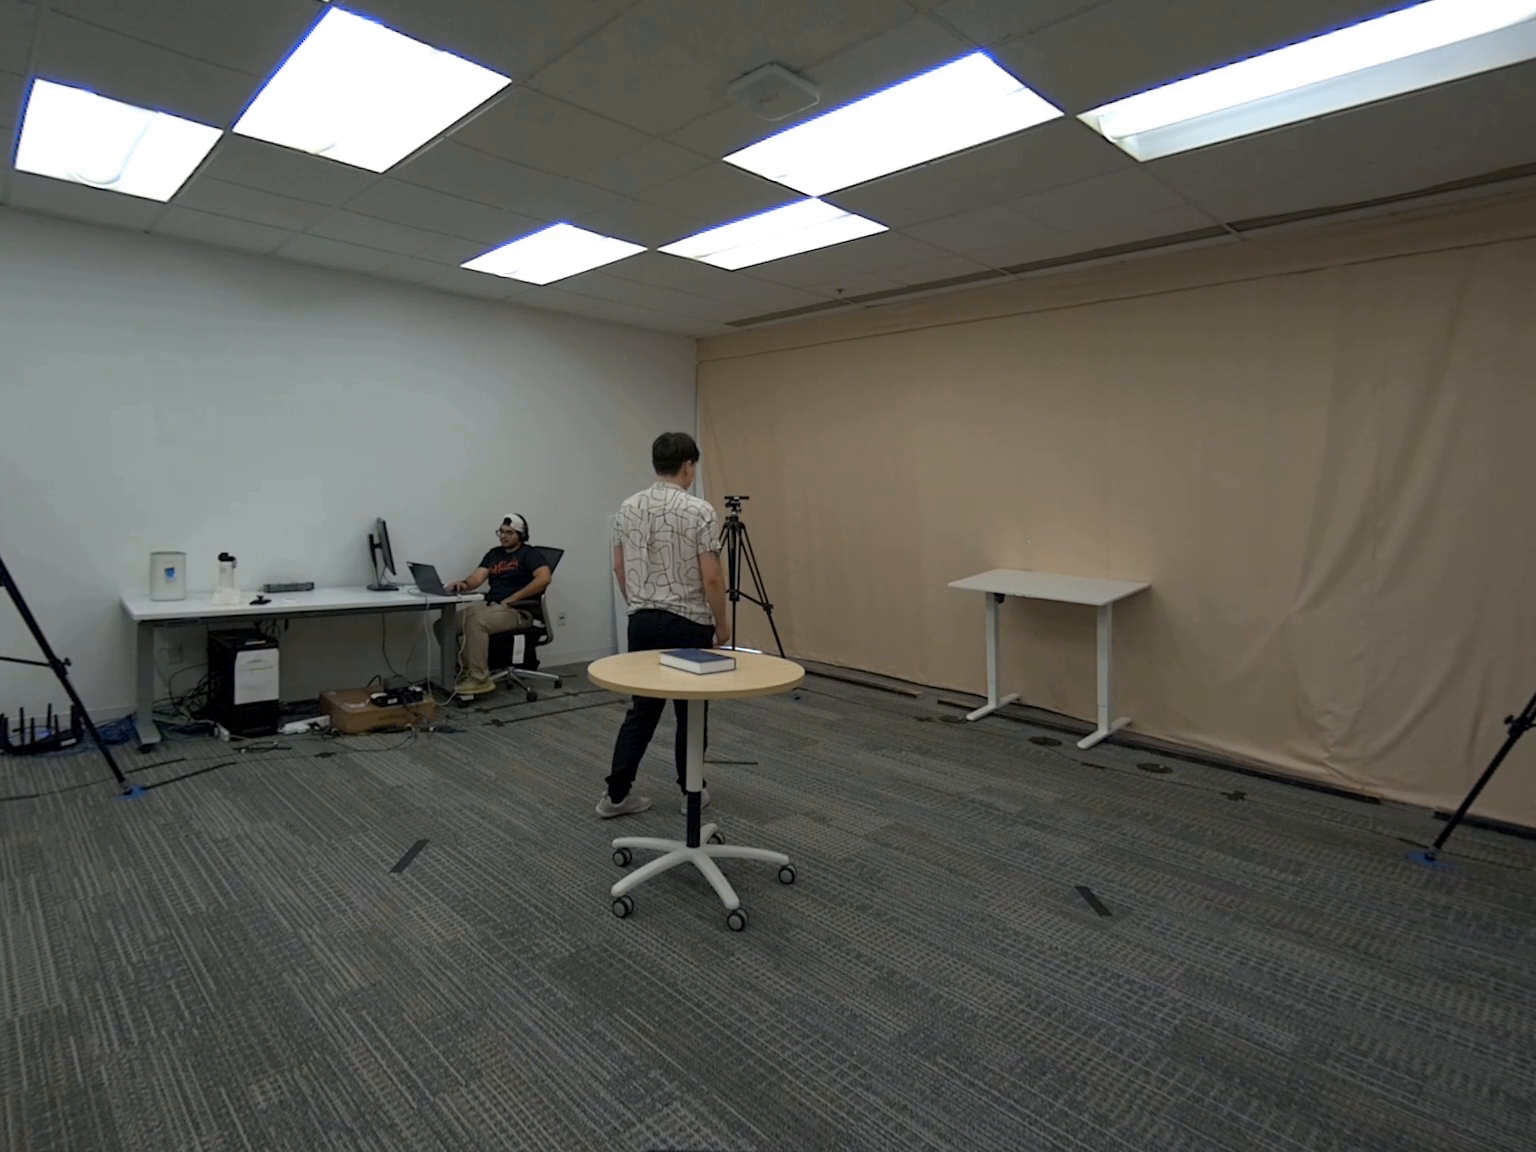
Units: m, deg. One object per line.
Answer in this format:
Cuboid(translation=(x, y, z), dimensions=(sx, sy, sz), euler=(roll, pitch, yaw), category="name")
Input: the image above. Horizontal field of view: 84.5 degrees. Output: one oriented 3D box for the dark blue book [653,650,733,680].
Cuboid(translation=(-0.270, 0.311, 2.995), dimensions=(0.160, 0.045, 0.251), euler=(-3, 6, -41), category="dark blue book")
